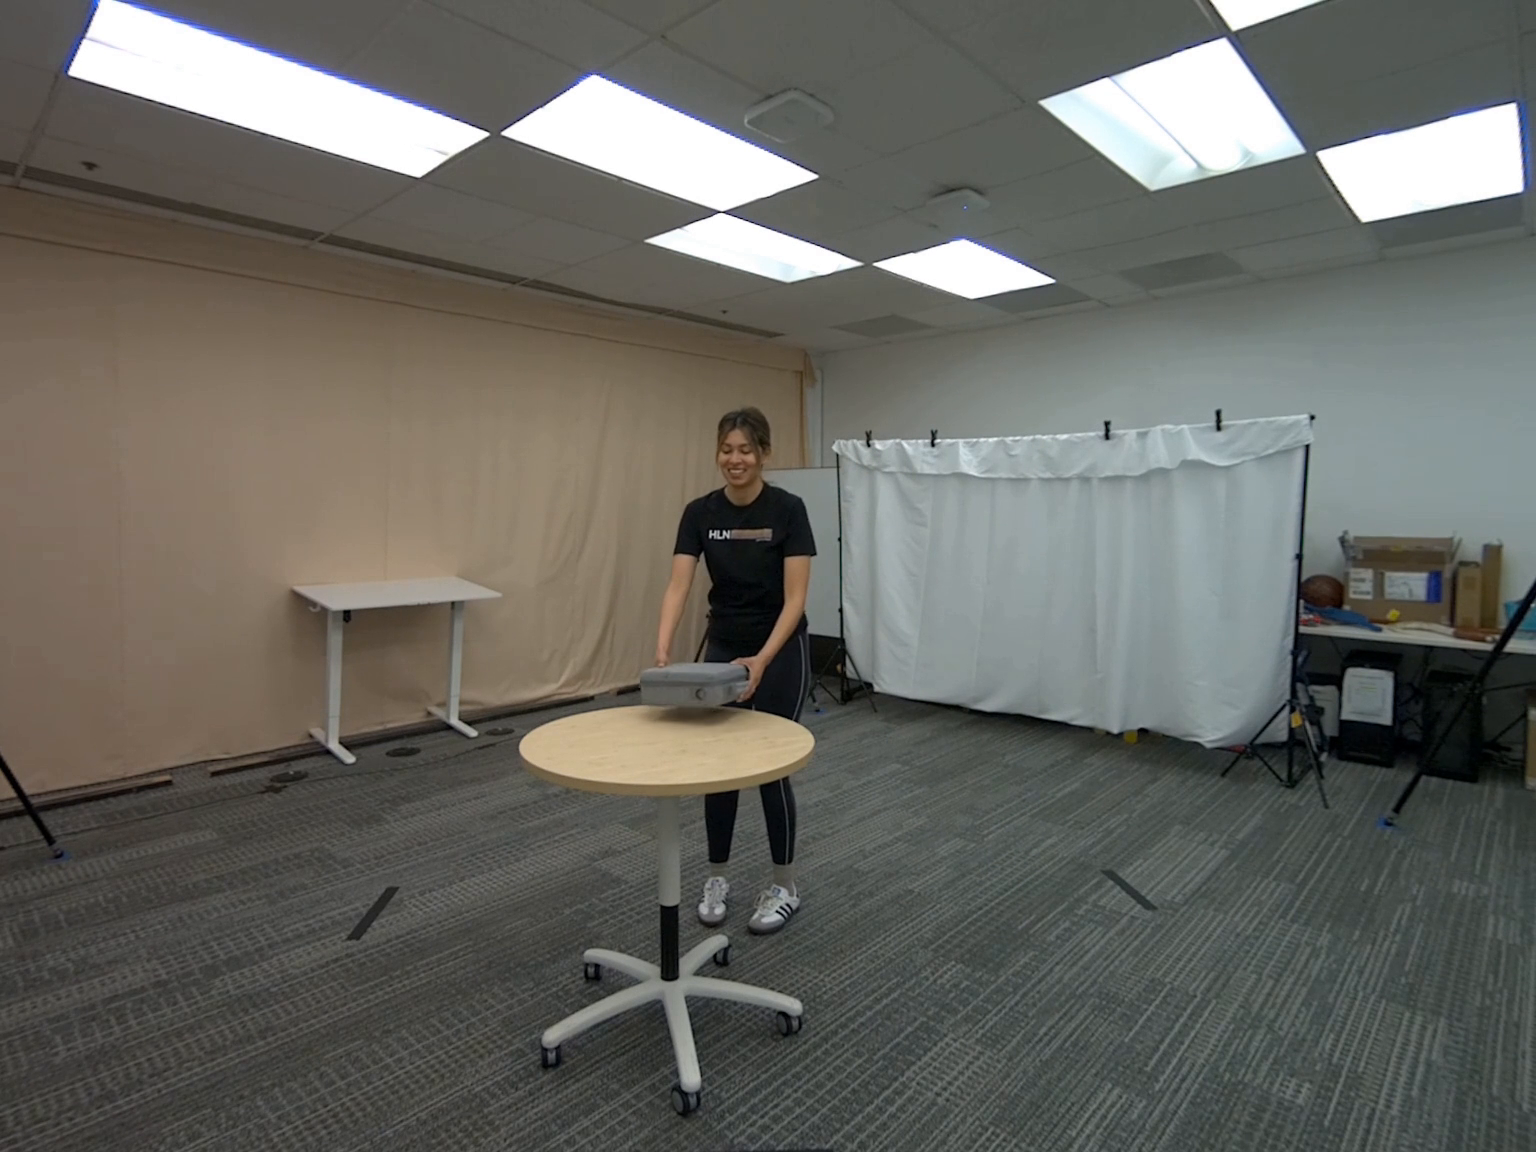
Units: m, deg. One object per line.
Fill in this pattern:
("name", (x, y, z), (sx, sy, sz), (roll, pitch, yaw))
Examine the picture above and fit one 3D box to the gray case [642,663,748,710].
("gray case", (-0.187, 0.316, 2.462), (0.267, 0.104, 0.250), (-2, -3, 24))
